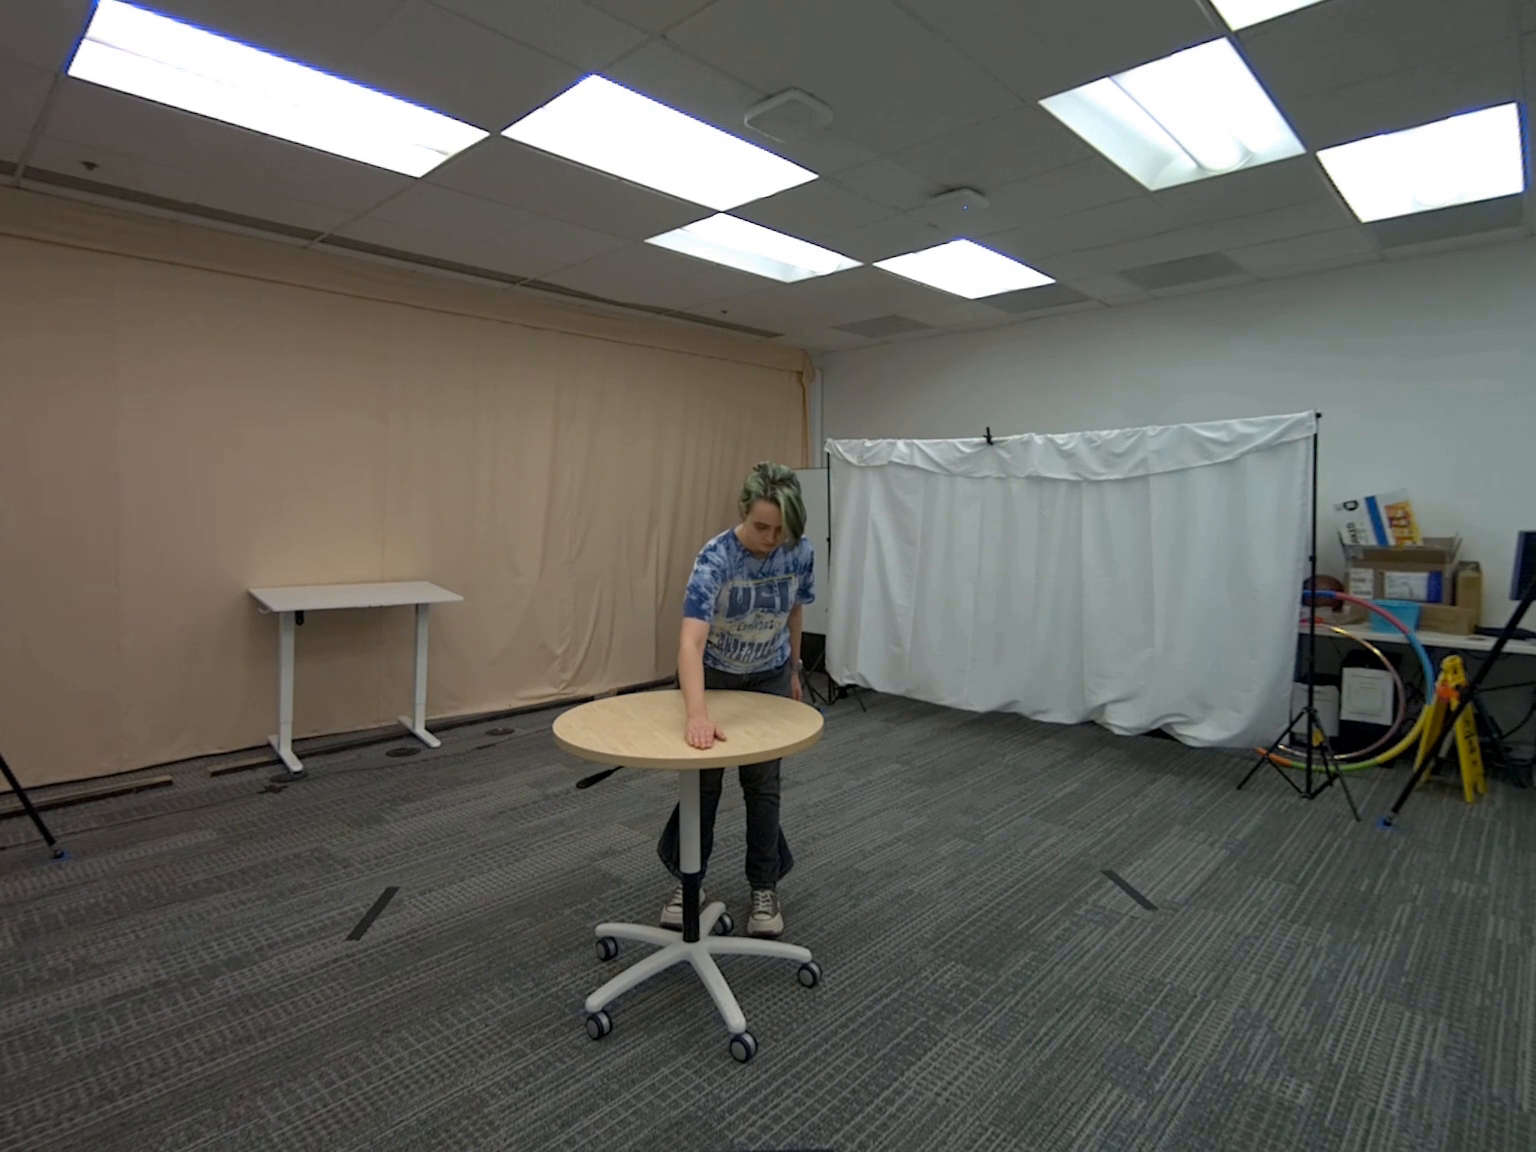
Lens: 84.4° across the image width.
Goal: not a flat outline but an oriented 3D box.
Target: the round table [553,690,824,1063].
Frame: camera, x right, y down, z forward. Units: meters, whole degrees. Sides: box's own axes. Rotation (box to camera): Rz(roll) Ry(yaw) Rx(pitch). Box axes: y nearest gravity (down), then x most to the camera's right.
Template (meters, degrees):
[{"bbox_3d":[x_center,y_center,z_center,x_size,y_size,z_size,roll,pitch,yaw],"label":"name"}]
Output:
[{"bbox_3d":[-0.230,0.796,2.434,0.784,0.785,0.788,-1,4,-2],"label":"round table"}]
